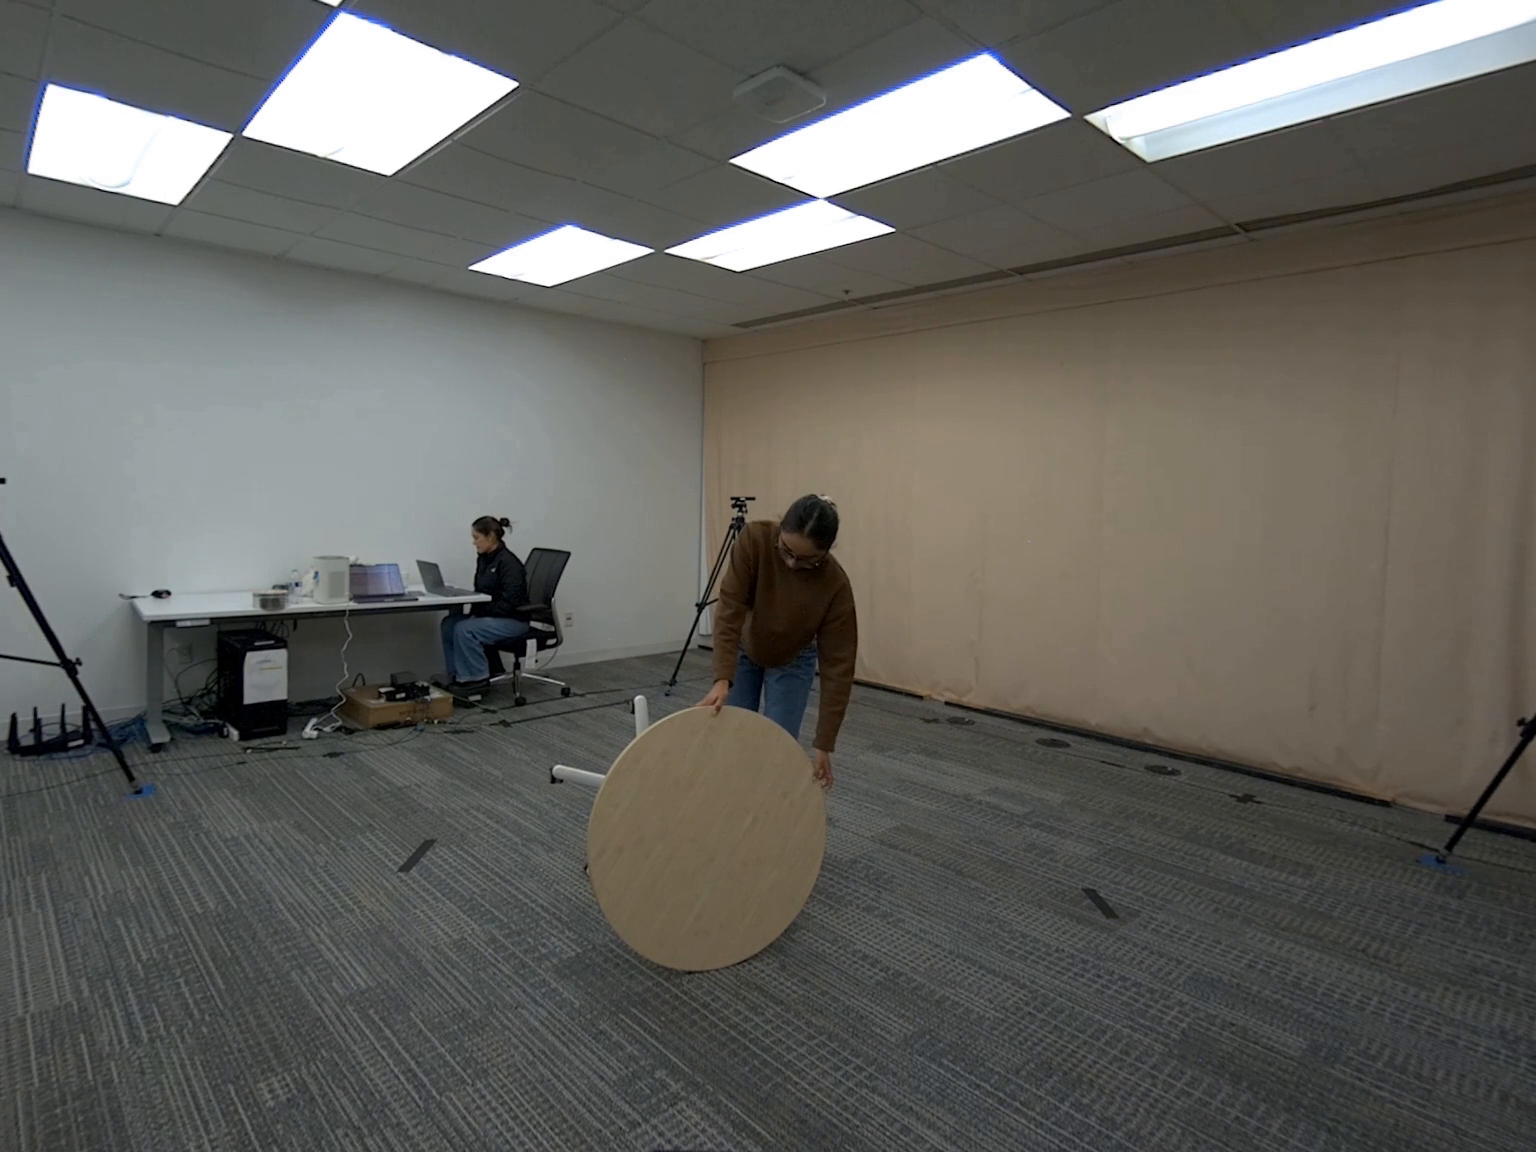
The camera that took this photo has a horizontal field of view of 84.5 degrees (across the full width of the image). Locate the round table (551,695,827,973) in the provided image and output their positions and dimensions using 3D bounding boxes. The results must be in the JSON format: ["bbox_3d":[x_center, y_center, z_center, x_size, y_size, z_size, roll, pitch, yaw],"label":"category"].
[{"bbox_3d":[-0.338,0.794,2.869,0.750,0.766,0.806,-1,-3,-25],"label":"round table"}]
